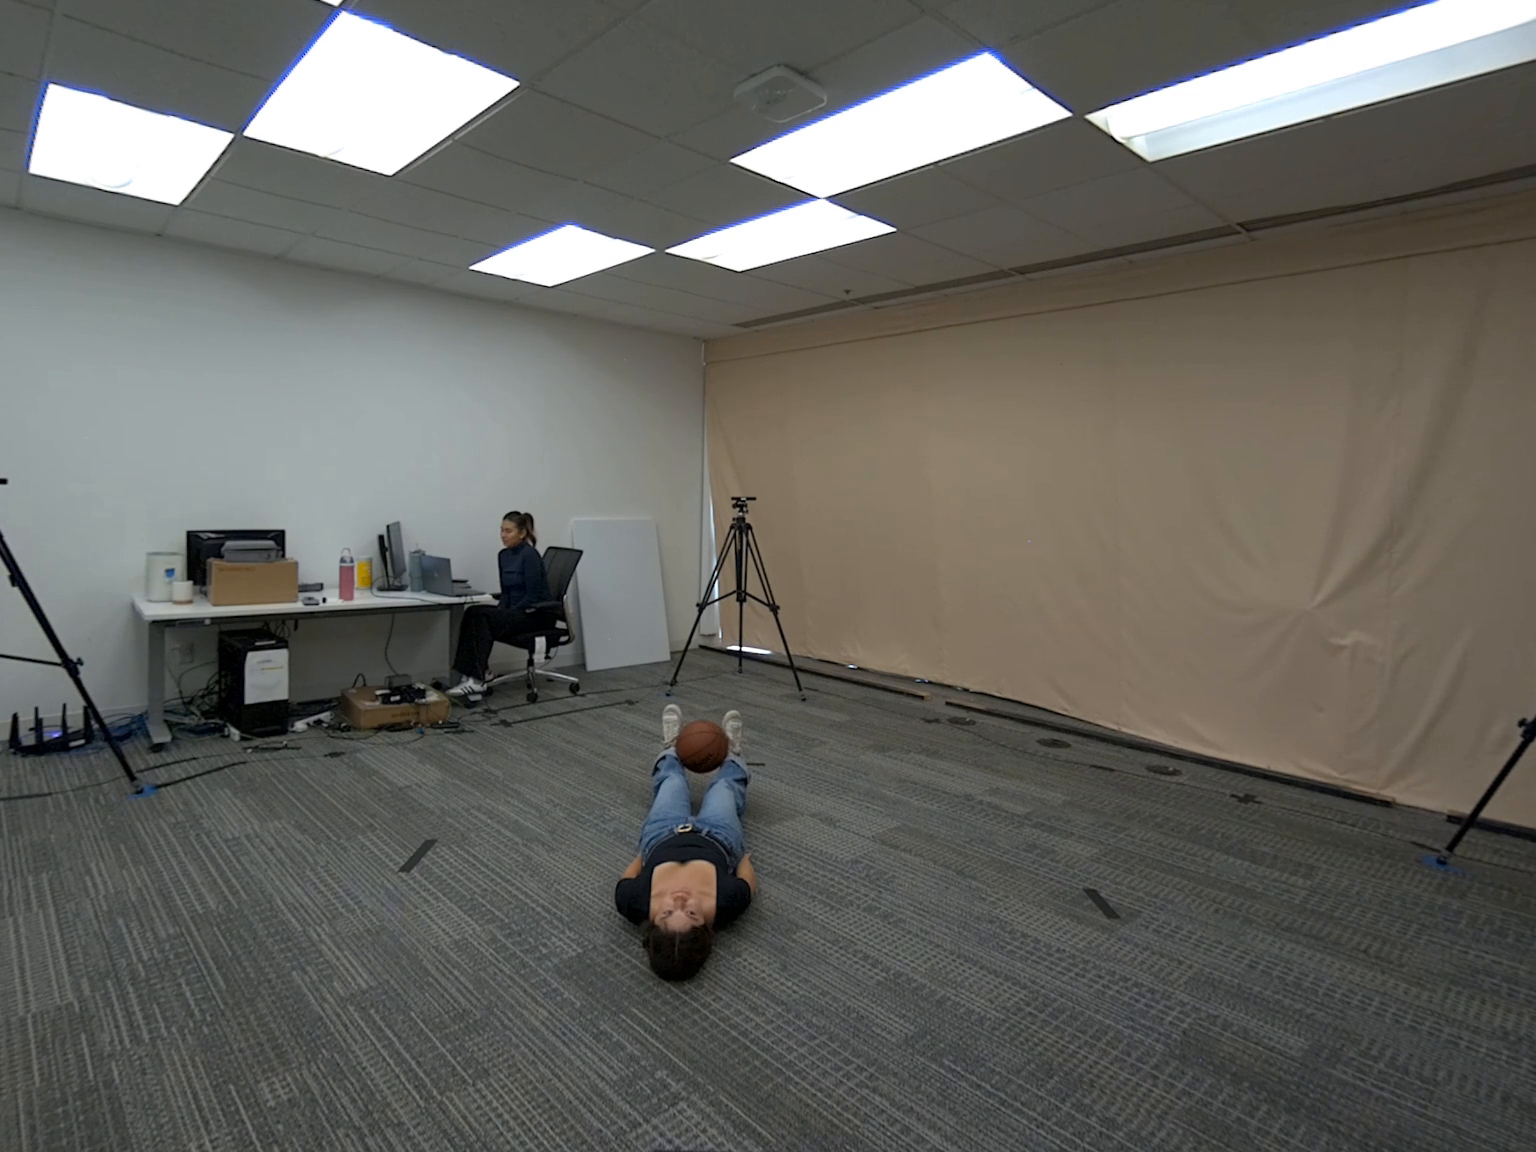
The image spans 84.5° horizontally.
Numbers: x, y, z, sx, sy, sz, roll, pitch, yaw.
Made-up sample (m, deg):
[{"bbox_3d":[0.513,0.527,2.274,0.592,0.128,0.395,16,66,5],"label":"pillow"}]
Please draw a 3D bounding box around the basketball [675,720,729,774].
[{"bbox_3d":[-0.312,0.773,3.845,0.236,0.235,0.237,1,4,-1],"label":"basketball"}]
